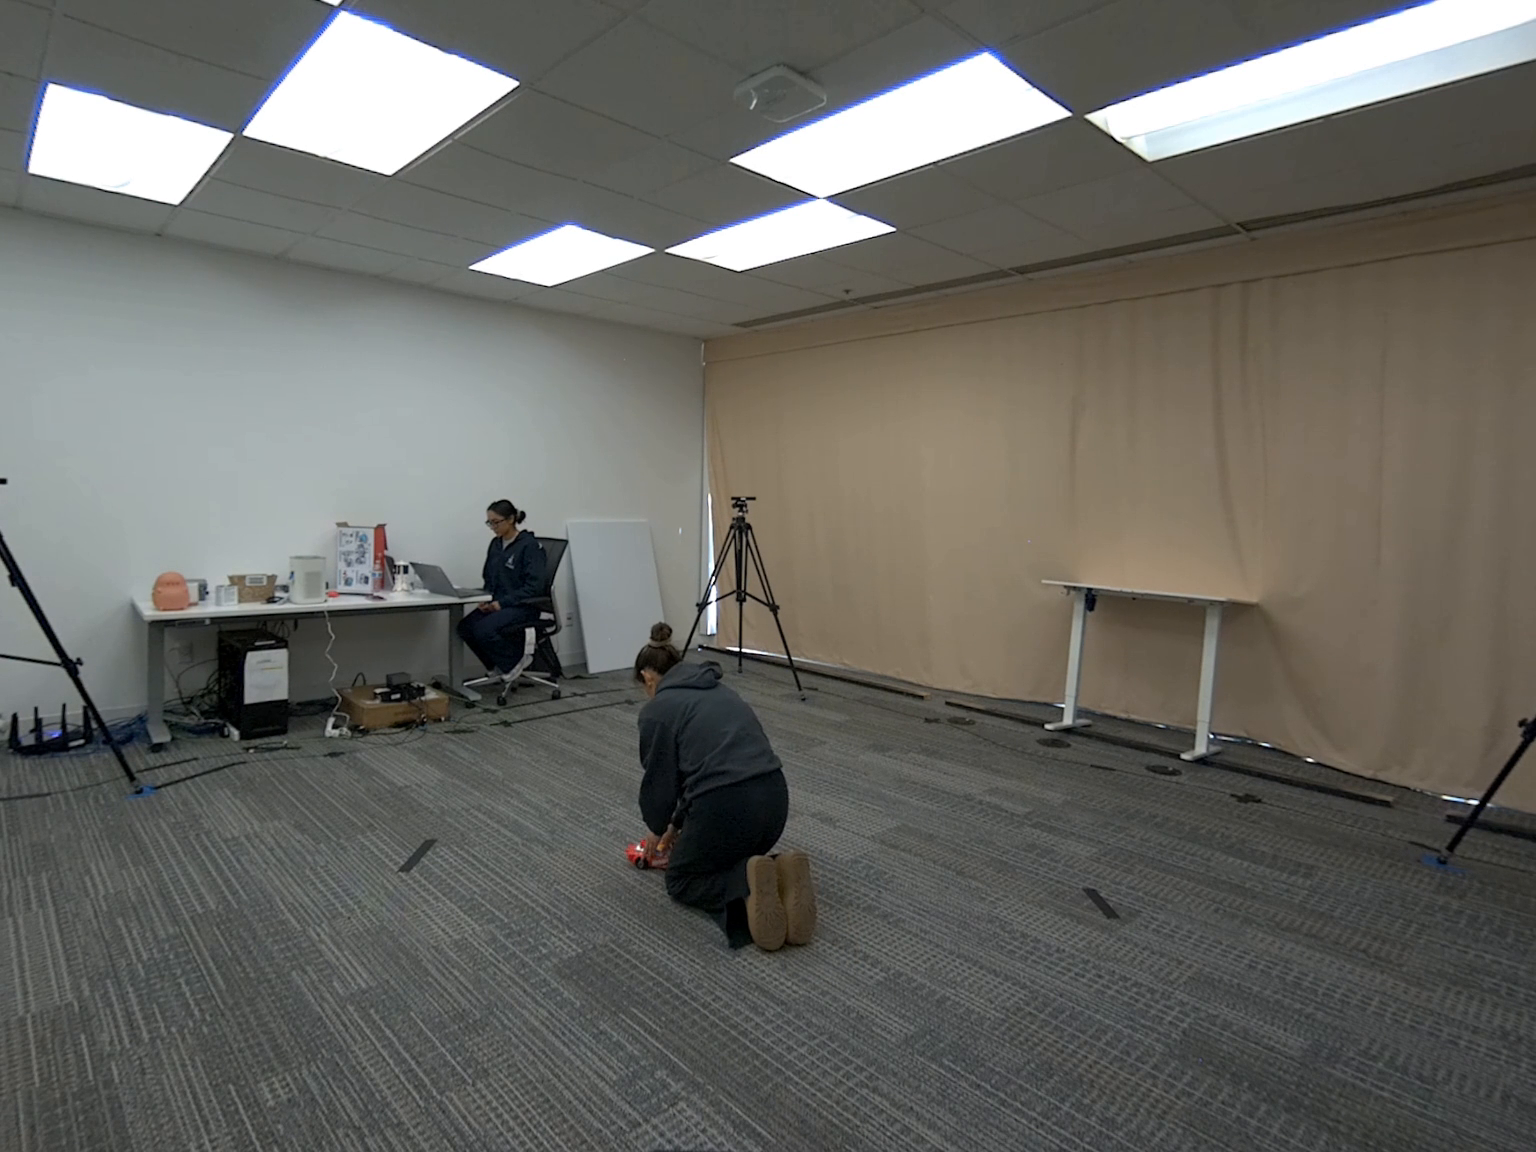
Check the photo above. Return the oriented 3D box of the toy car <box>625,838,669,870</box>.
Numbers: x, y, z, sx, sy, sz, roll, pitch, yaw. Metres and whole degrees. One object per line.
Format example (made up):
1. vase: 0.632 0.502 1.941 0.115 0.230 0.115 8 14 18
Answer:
1. toy car: -0.430 1.058 3.188 0.257 0.083 0.130 18 9 8
